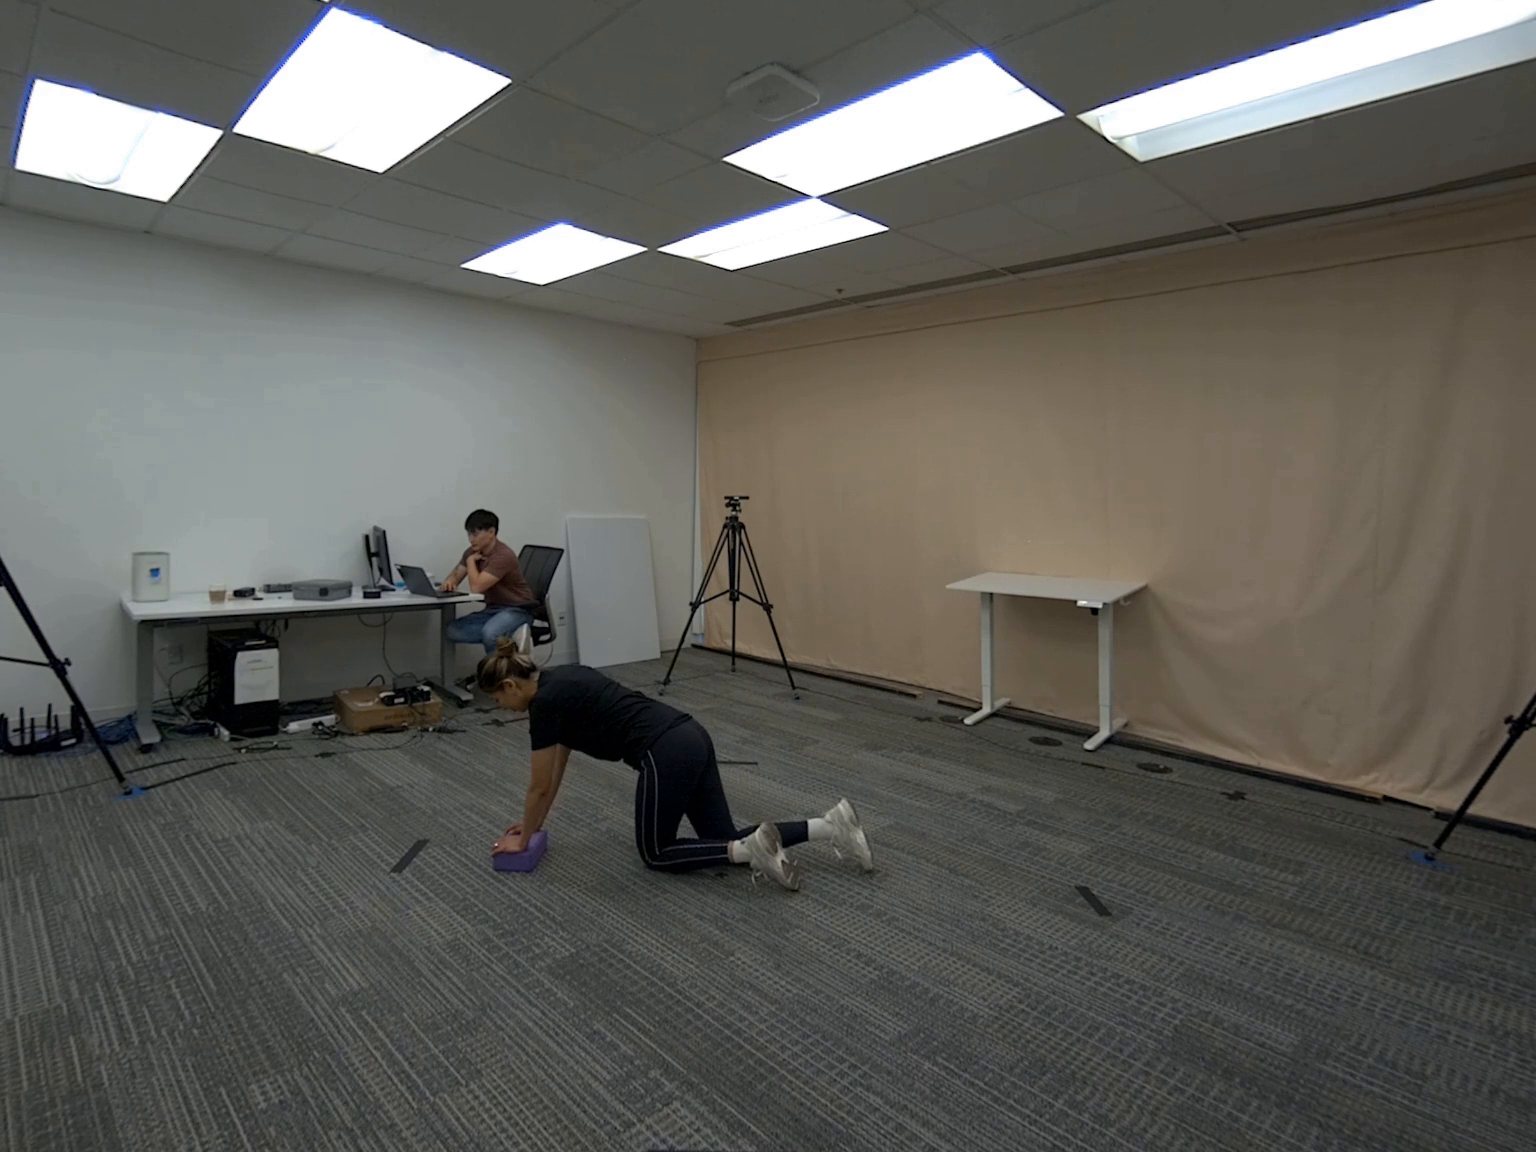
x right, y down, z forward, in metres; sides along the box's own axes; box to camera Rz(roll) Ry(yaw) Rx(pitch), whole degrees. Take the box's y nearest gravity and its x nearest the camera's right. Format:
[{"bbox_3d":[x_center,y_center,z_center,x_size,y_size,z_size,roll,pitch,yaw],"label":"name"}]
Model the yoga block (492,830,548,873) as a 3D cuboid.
[{"bbox_3d":[-0.938,1.031,3.202,0.149,0.076,0.230,-2,5,1],"label":"yoga block"}]
